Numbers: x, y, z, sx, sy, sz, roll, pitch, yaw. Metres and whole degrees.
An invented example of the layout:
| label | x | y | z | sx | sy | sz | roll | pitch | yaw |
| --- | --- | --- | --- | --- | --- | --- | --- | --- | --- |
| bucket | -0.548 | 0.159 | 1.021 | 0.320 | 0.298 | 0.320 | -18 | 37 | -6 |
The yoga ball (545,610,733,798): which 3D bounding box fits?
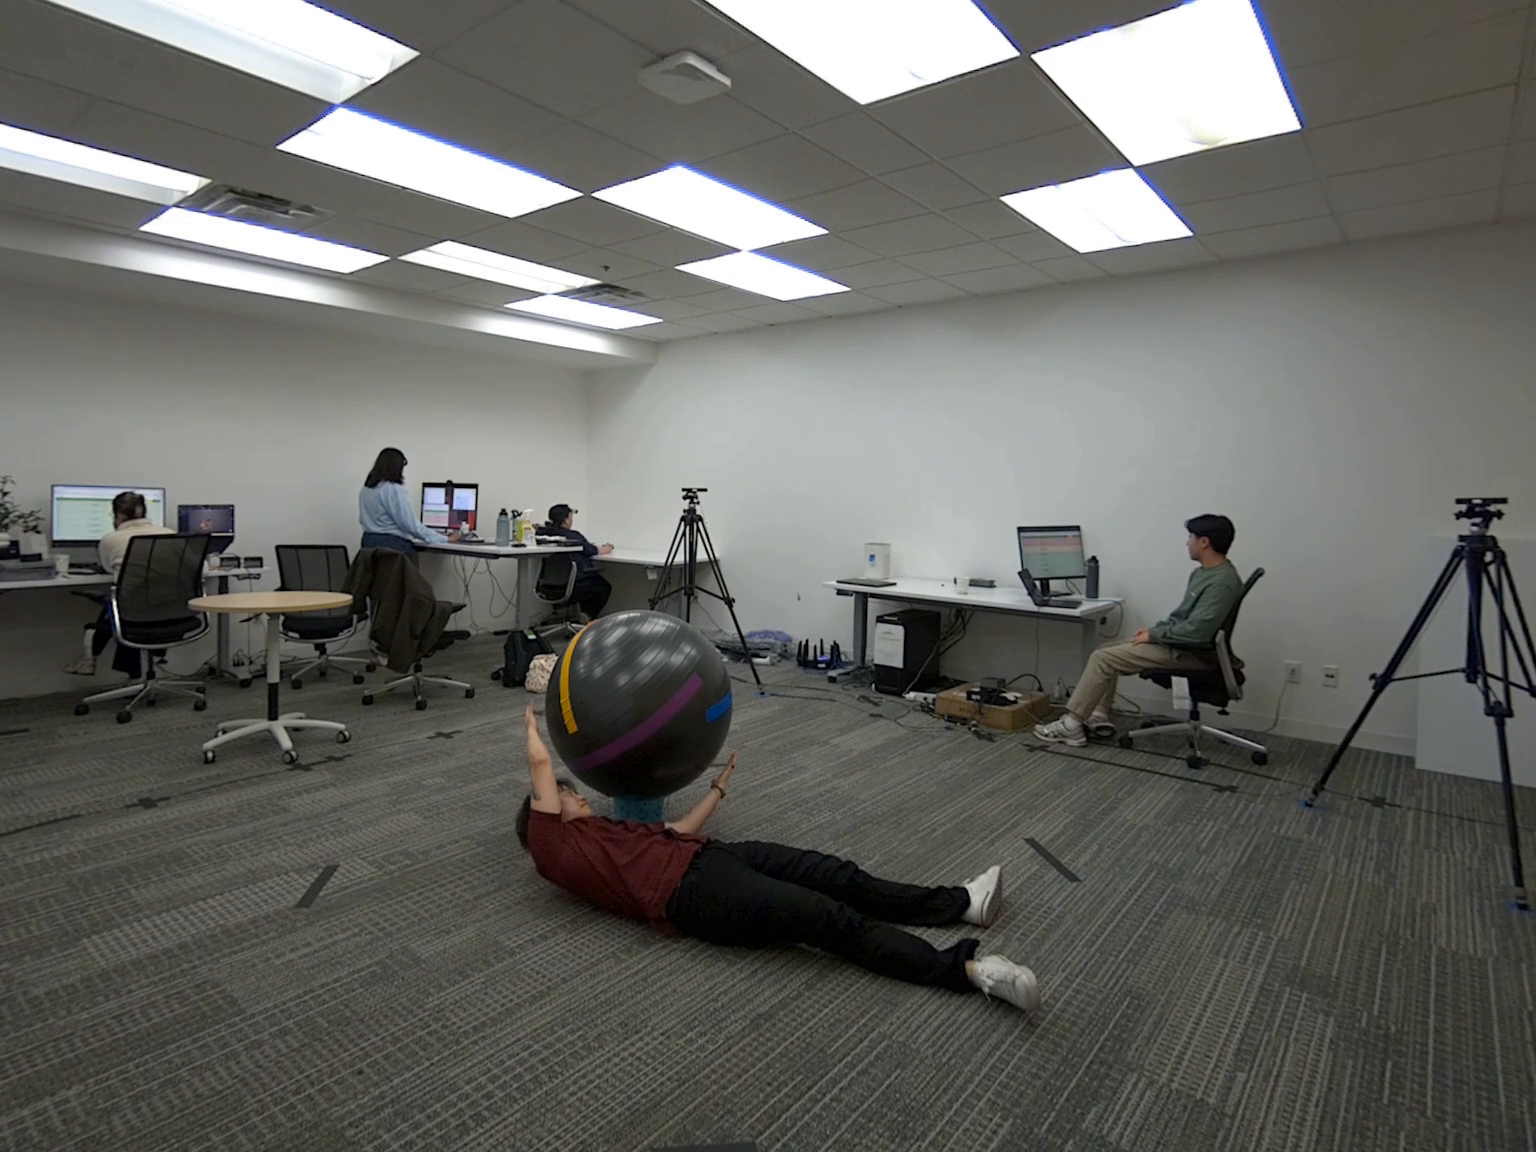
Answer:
| label | x | y | z | sx | sy | sz | roll | pitch | yaw |
| --- | --- | --- | --- | --- | --- | --- | --- | --- | --- |
| yoga ball | -0.531 | 0.519 | 3.471 | 0.757 | 0.755 | 0.762 | 1 | 4 | -2 |
